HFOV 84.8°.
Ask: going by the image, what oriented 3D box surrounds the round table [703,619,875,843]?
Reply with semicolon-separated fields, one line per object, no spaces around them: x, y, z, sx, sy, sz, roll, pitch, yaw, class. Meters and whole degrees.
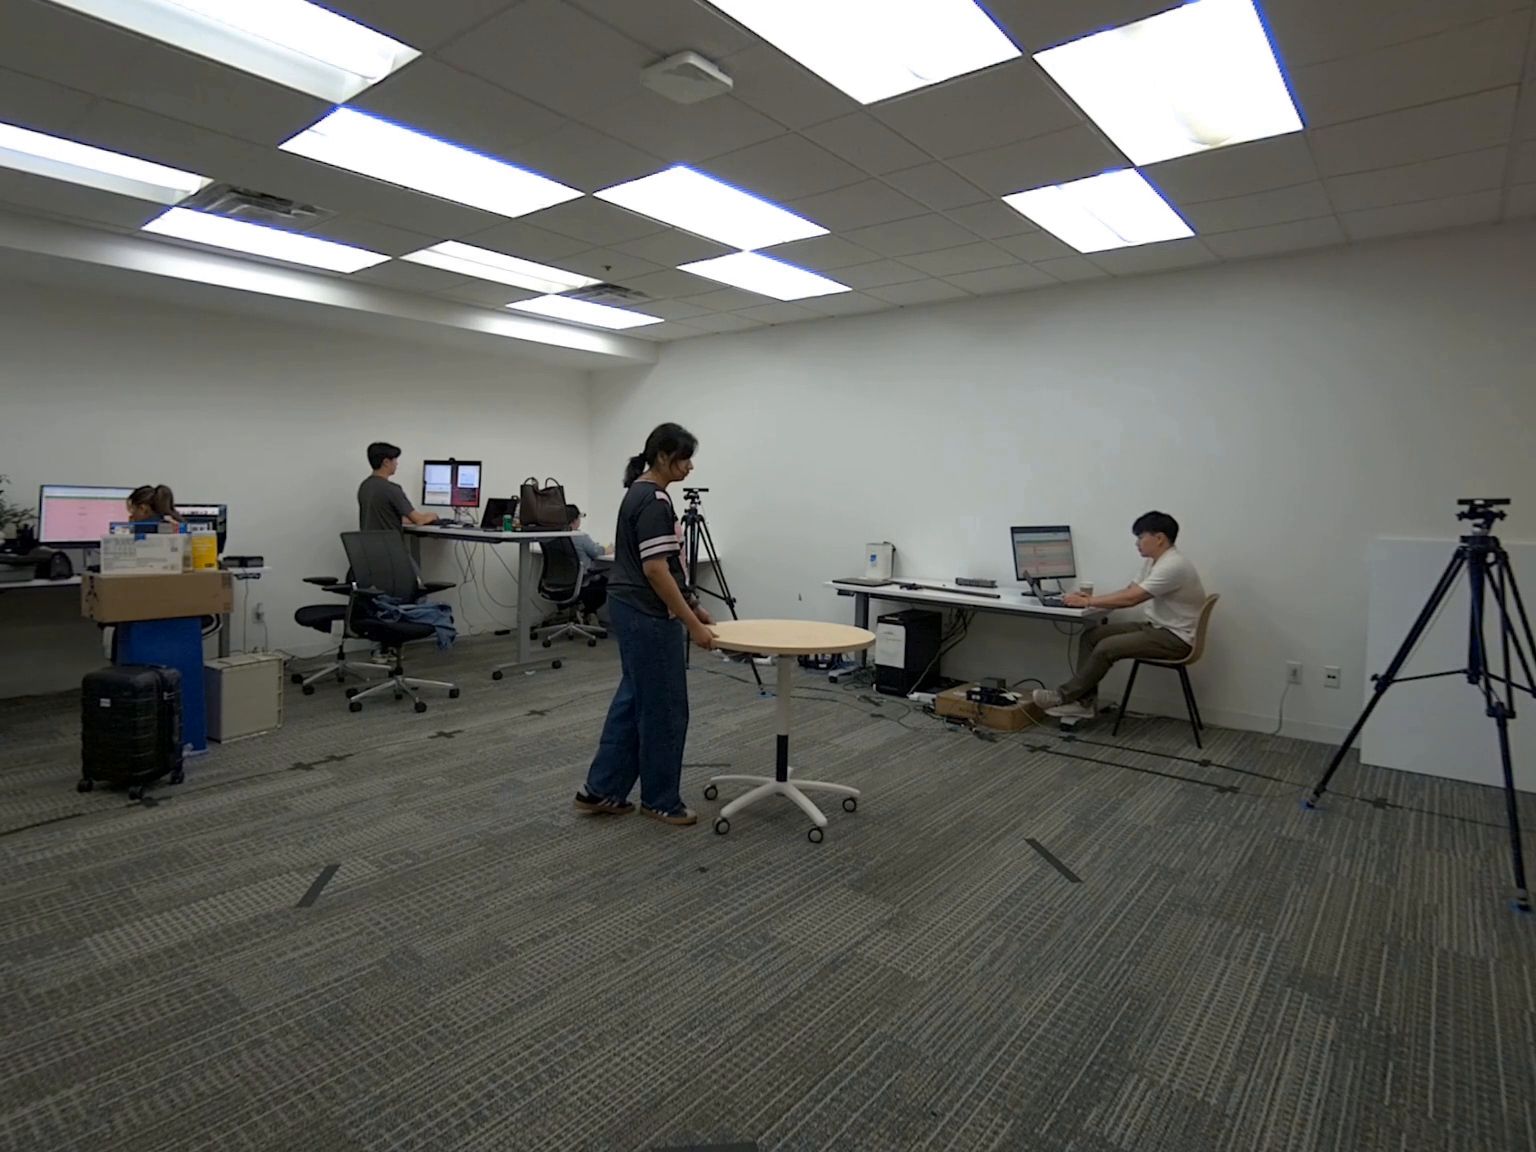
0.055;0.636;3.656;0.763;0.792;0.767;1;4;-2;round table
